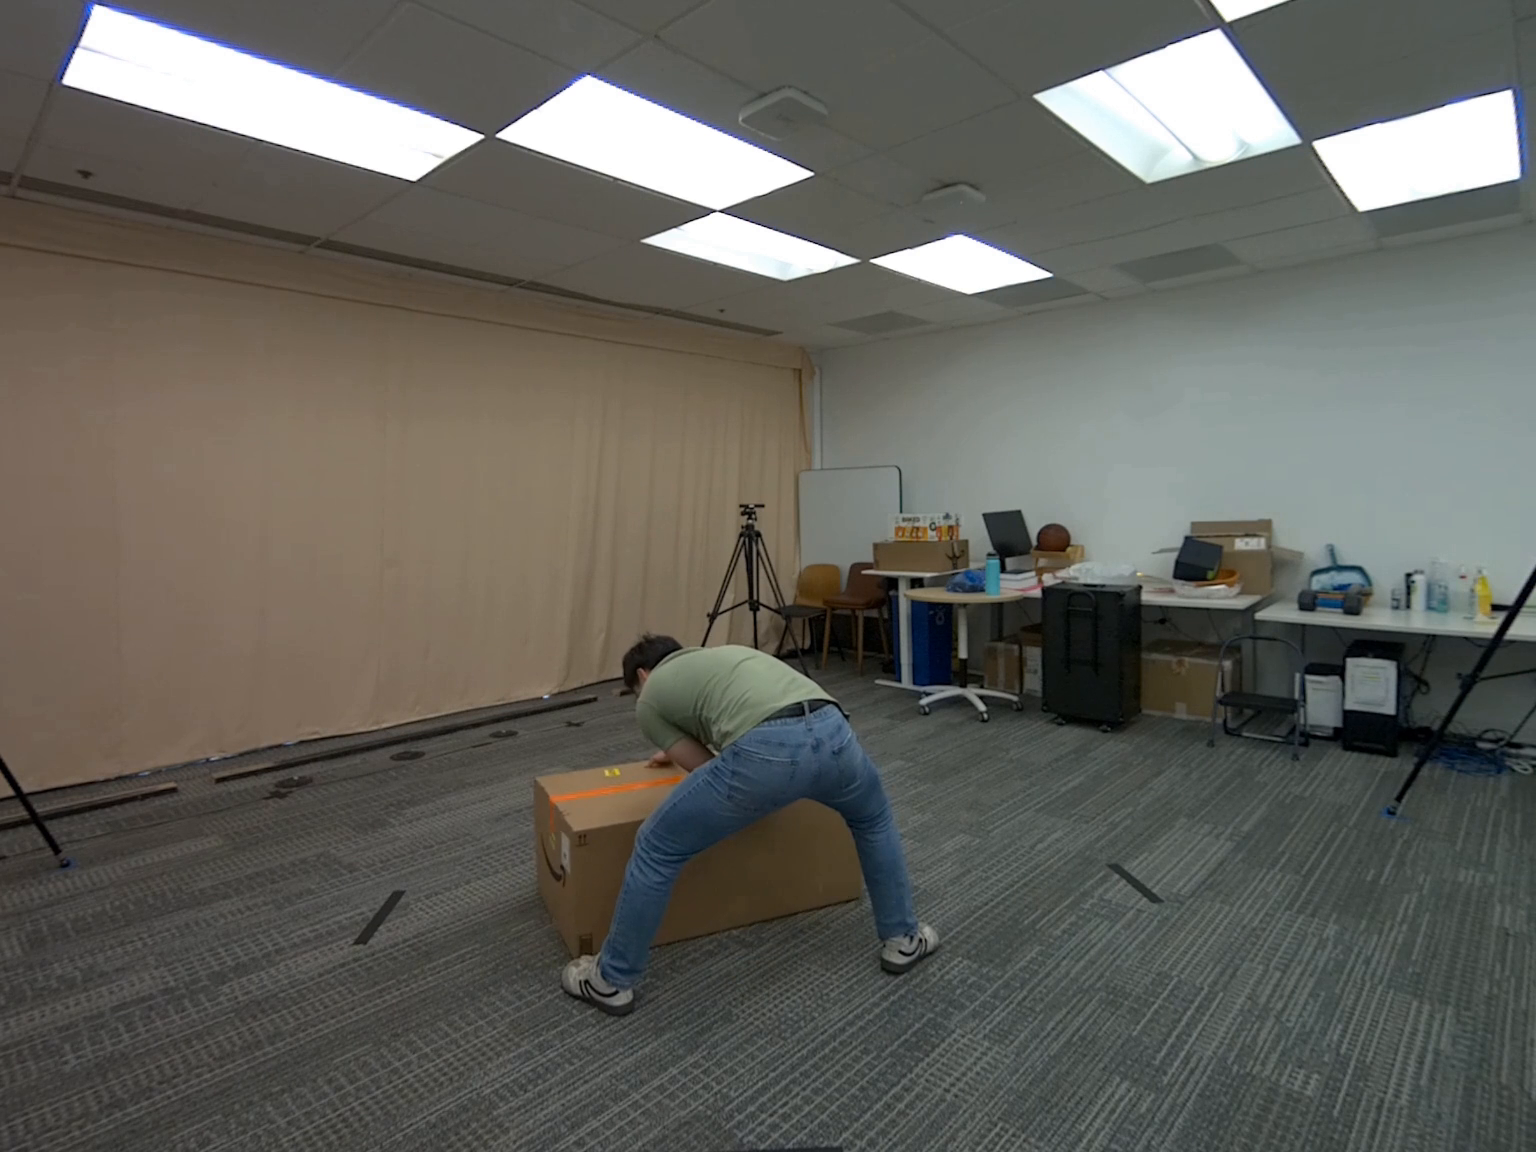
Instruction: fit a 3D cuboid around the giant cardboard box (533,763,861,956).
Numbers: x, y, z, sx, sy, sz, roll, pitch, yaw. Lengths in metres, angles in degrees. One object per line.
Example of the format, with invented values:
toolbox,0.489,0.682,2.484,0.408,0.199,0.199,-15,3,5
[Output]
giant cardboard box,-0.262,0.928,3.003,1.003,0.425,0.592,-3,4,-24
